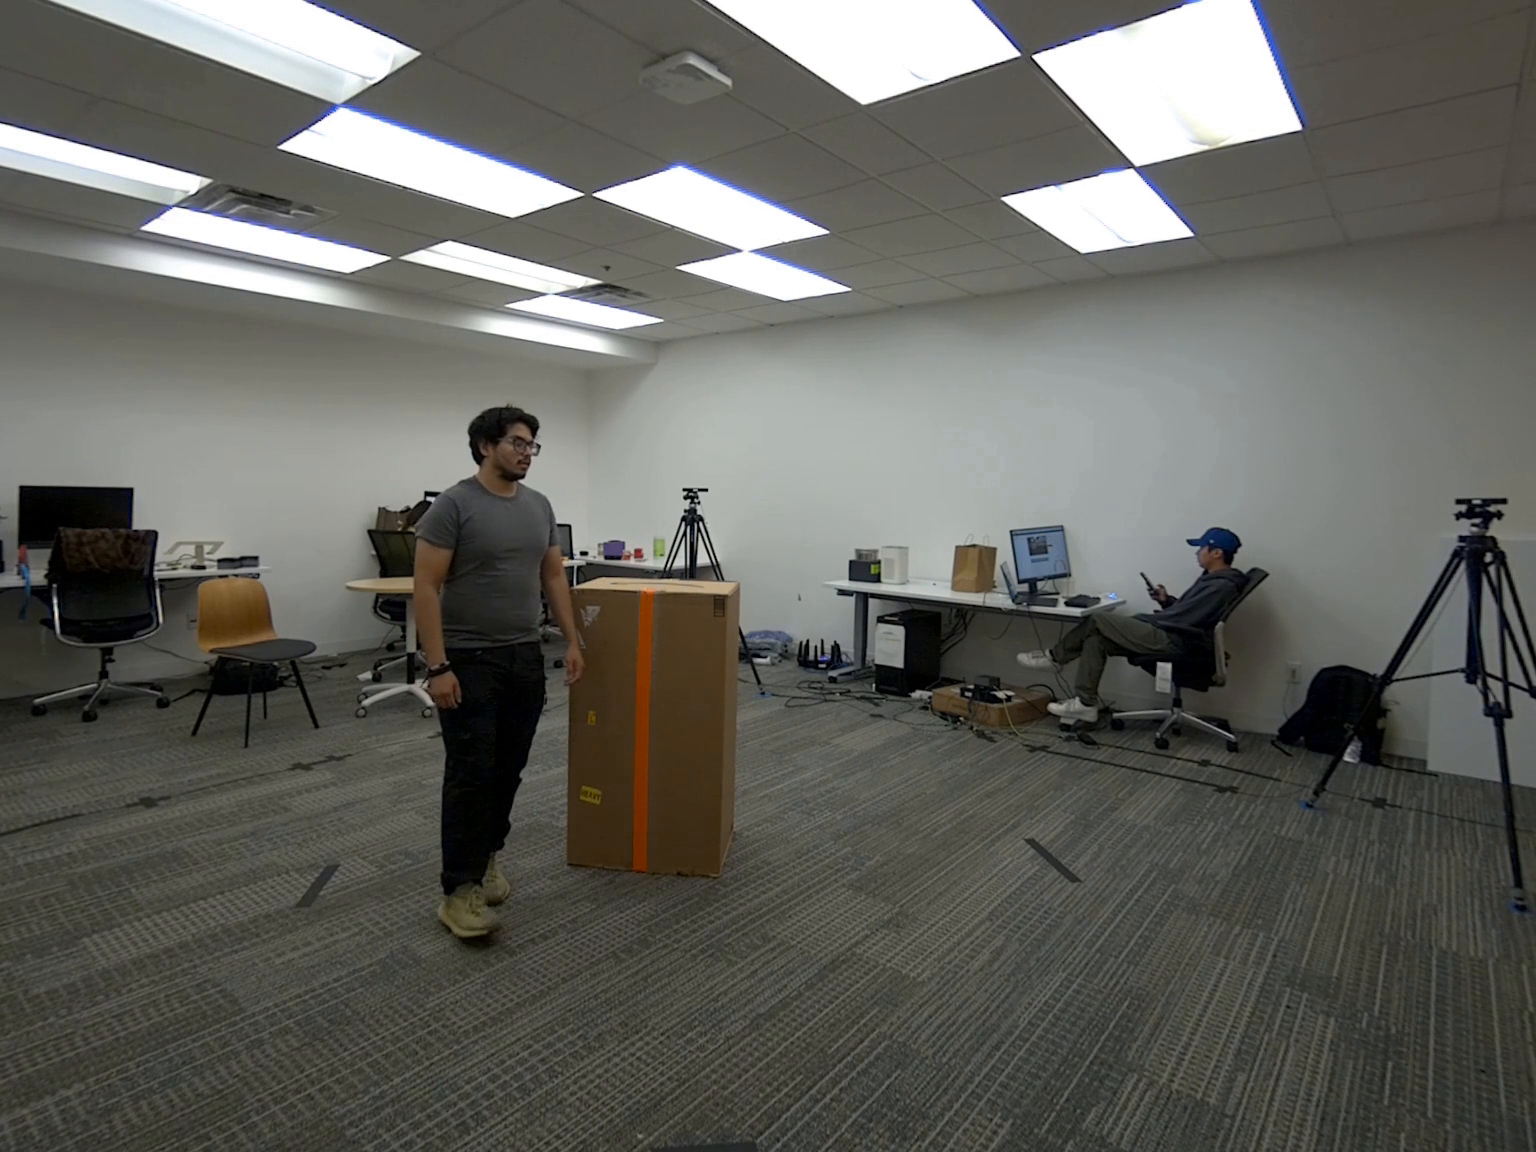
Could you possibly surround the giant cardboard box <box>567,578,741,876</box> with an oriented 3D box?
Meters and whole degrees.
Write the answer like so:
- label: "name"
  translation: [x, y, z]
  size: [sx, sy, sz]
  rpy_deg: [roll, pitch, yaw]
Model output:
- label: "giant cardboard box"
  translation: [-0.434, 0.539, 3.263]
  size: [0.583, 1.023, 0.424]
  rpy_deg: [2, 3, 8]
